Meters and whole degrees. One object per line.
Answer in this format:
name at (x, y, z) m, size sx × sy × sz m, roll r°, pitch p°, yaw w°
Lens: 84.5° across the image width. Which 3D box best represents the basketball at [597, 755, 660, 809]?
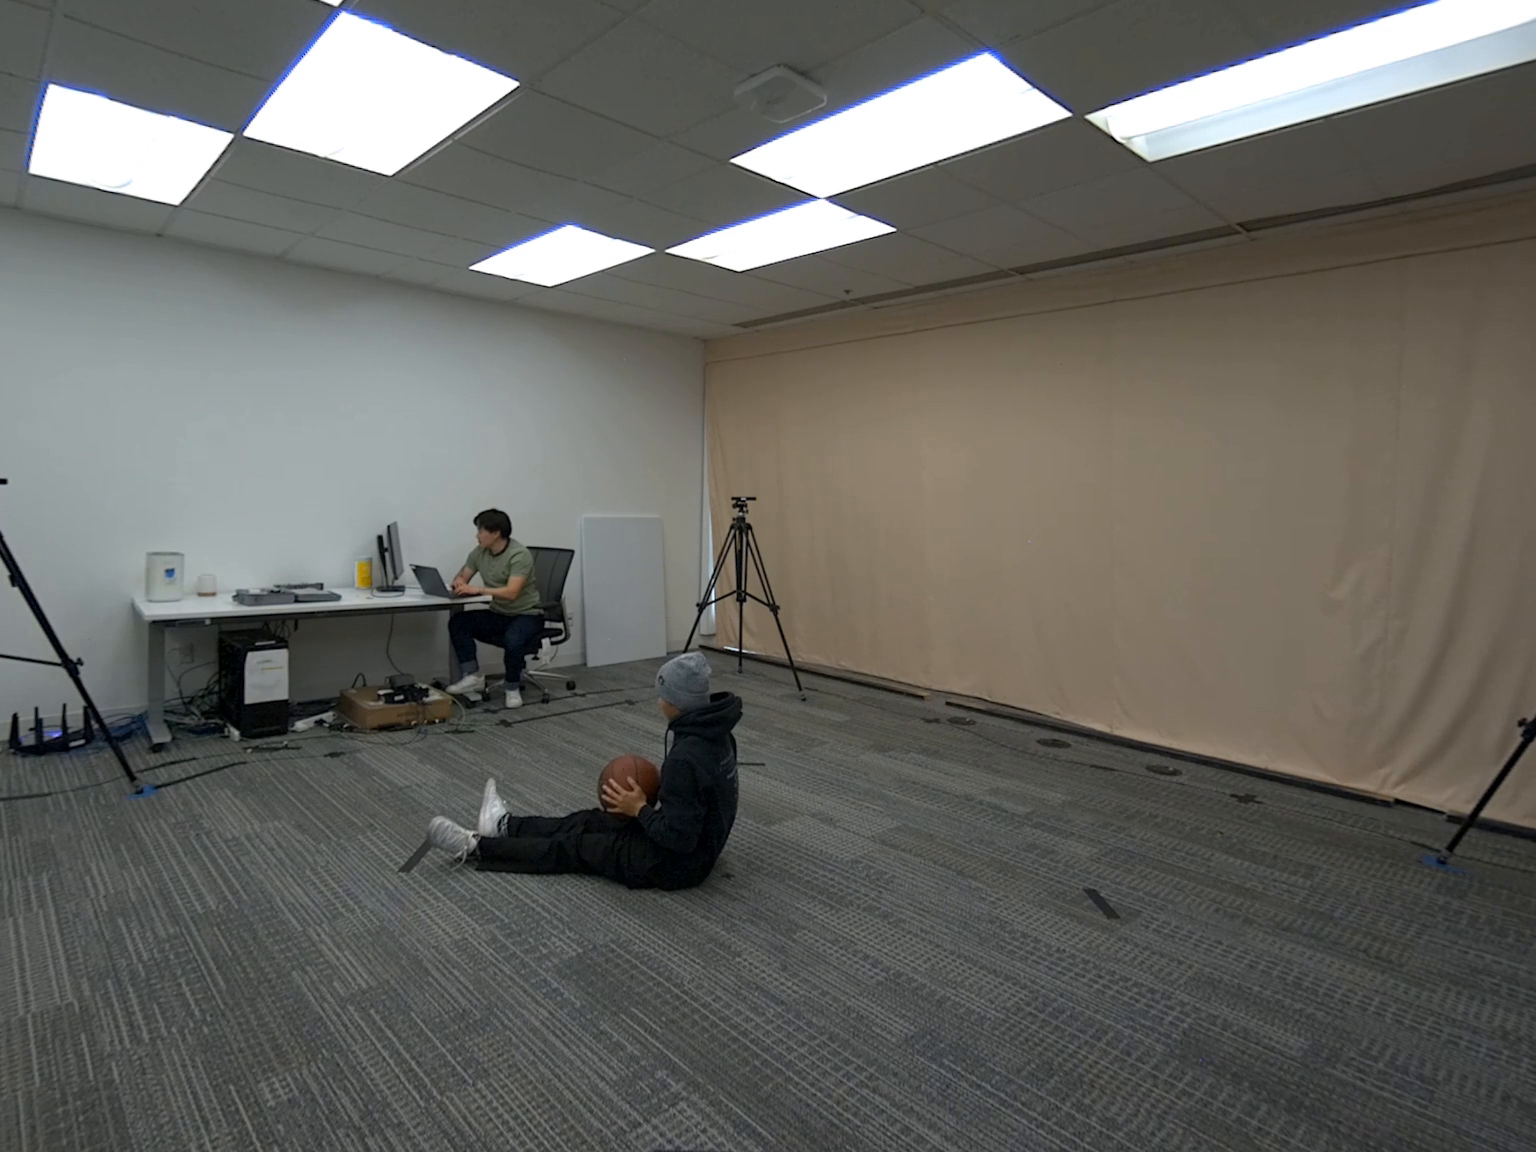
basketball at (-0.522, 0.792, 3.161) m, size 0.236 × 0.235 × 0.237 m, roll 1°, pitch 4°, yaw -1°
